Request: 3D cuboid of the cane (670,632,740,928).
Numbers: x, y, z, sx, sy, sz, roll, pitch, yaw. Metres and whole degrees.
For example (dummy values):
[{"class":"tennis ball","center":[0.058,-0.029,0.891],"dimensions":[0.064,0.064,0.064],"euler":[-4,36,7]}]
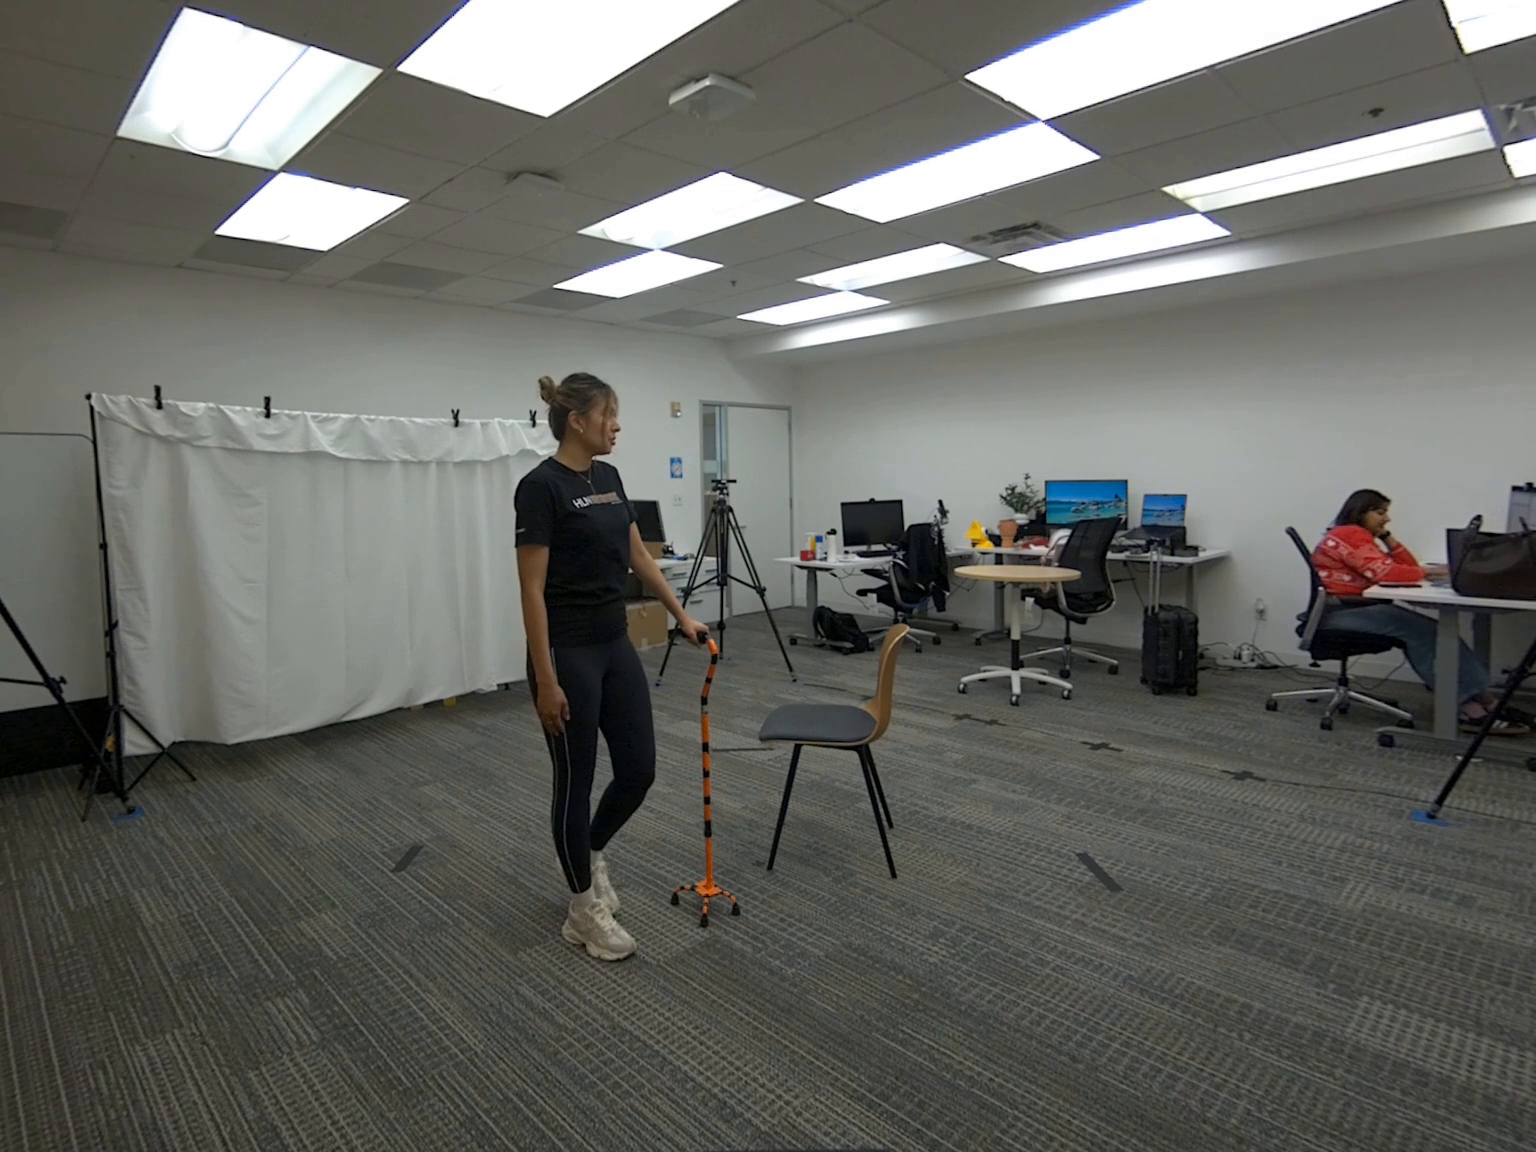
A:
[{"class":"cane","center":[-0.209,0.633,2.766],"dimensions":[0.148,0.905,0.212],"euler":[-3,4,-36]}]
